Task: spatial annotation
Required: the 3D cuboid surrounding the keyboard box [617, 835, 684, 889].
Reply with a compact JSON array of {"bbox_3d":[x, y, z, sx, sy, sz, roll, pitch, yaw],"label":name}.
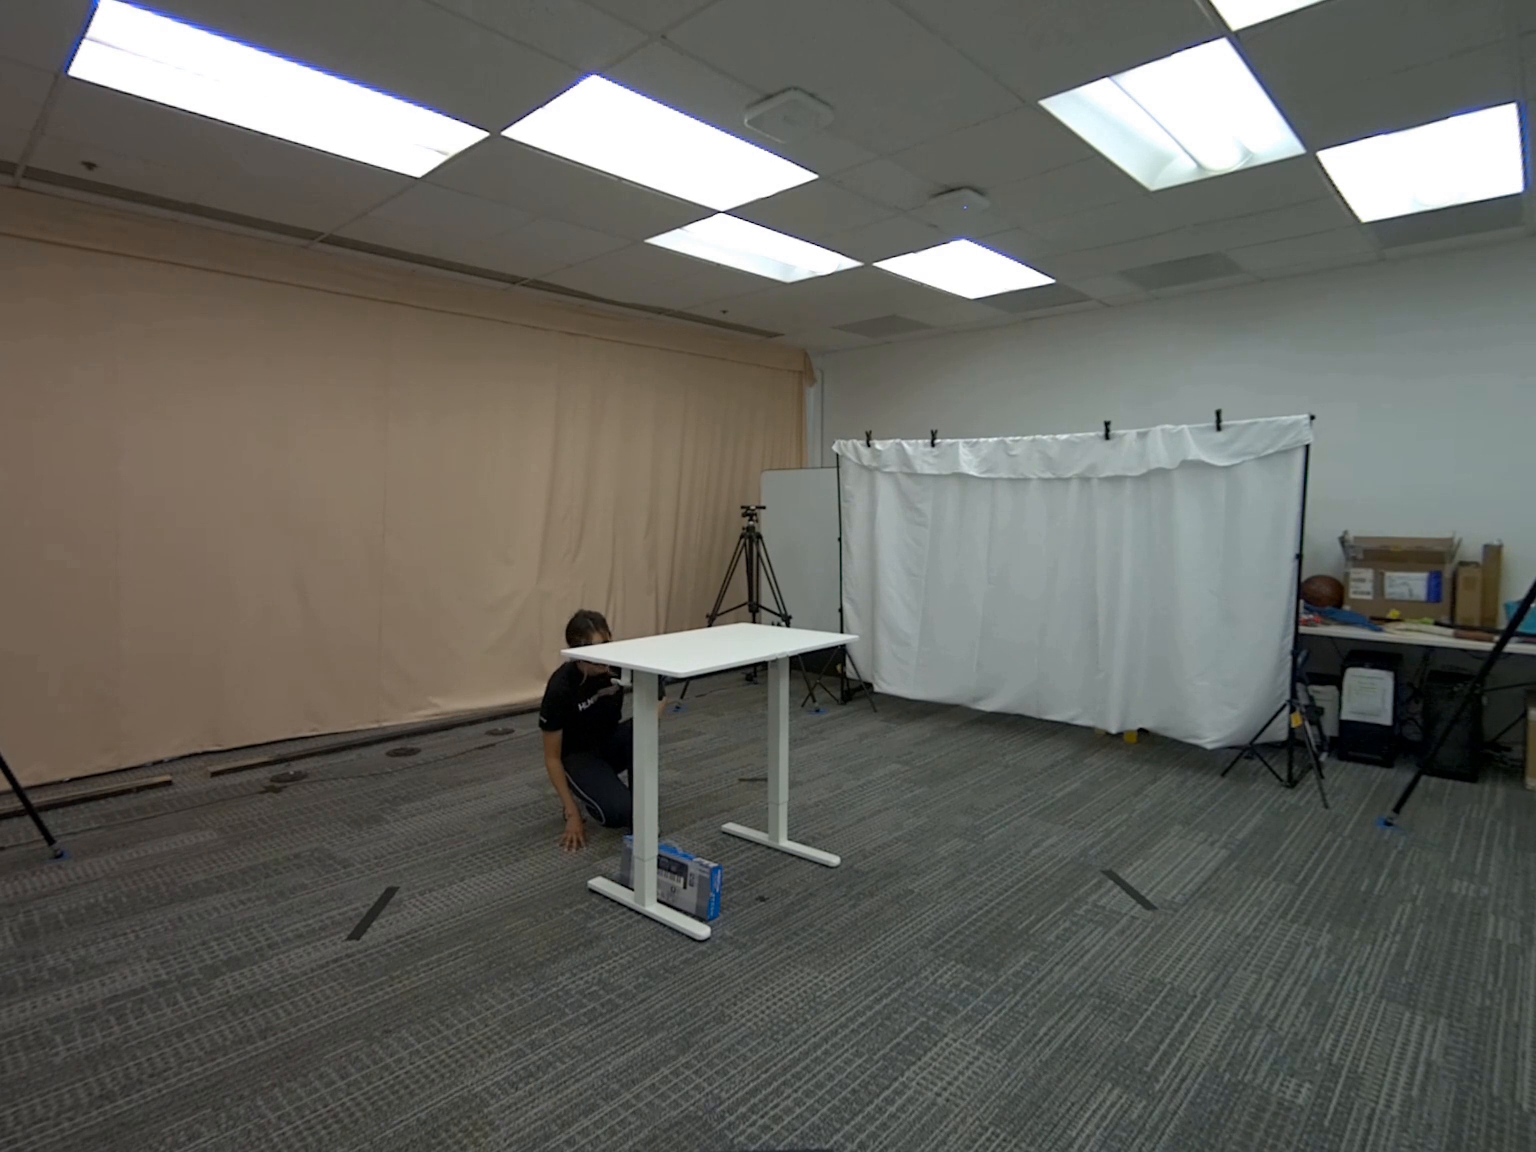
[{"bbox_3d":[-0.351,1.059,2.973,0.451,0.176,0.057,3,-3,39],"label":"keyboard box"}]
